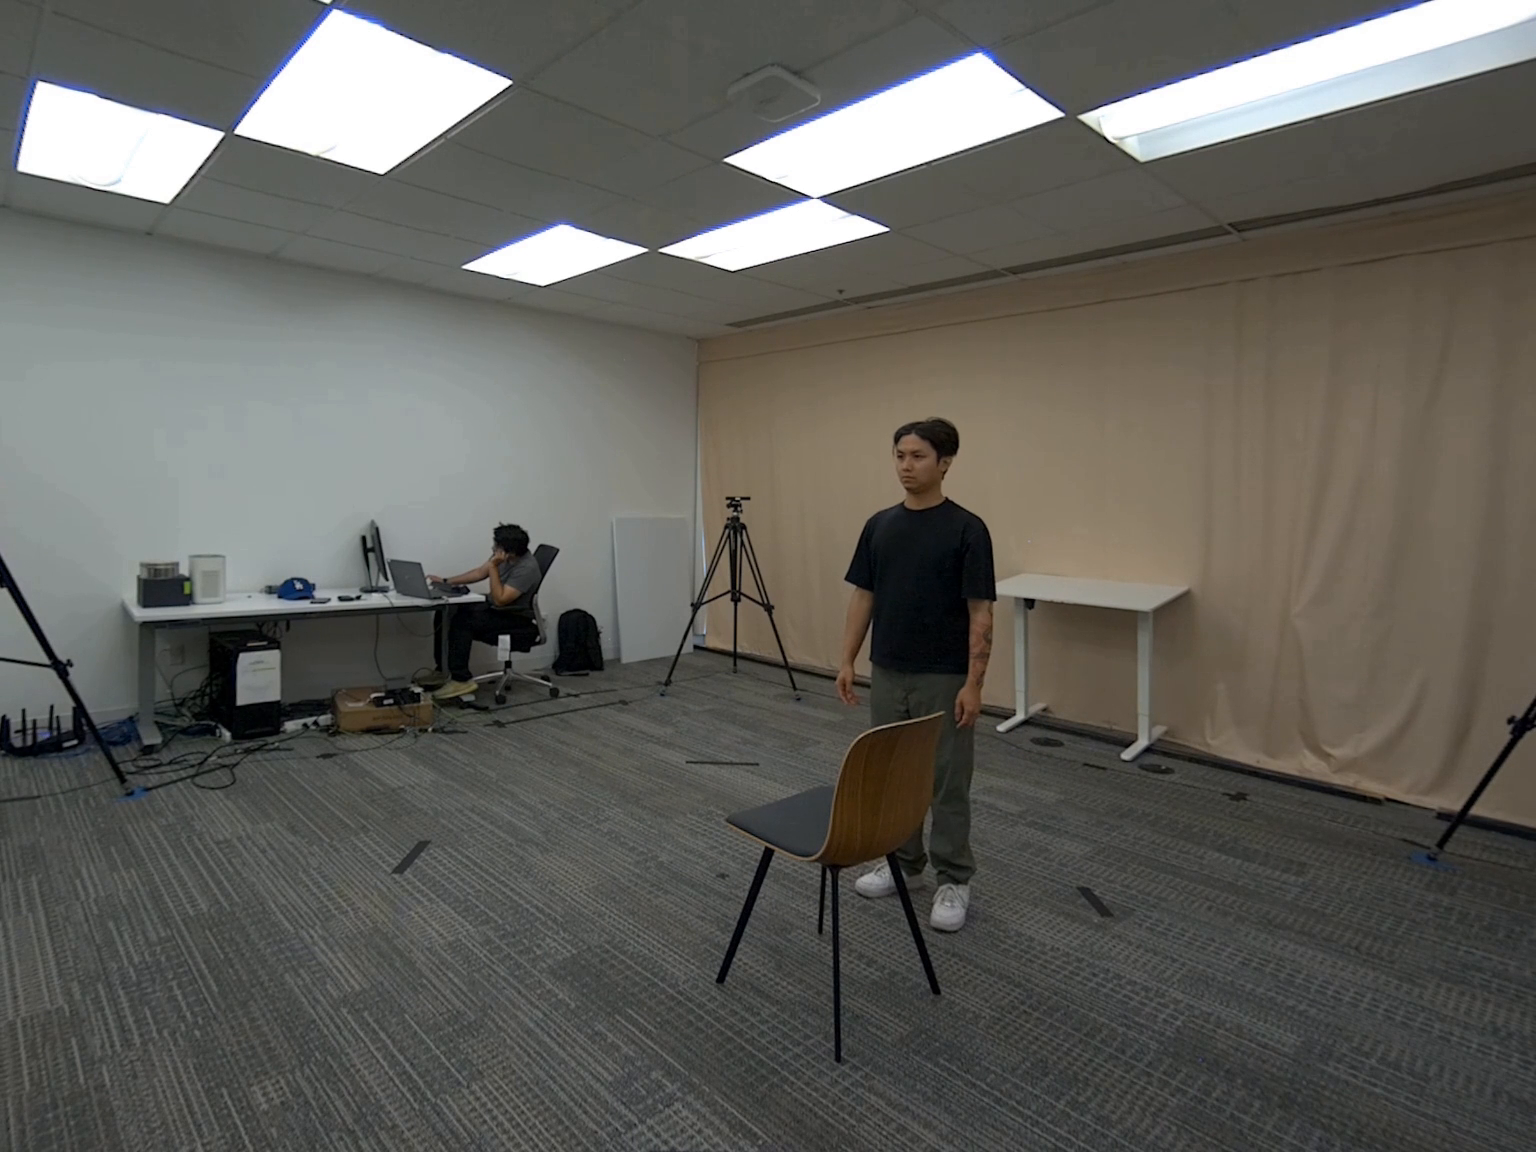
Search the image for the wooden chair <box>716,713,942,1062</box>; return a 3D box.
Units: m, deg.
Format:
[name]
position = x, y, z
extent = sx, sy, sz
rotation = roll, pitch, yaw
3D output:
[wooden chair]
position = 0.172, 0.755, 2.372
extent = 0.467, 0.873, 0.538
rotation = -2, 10, -44
